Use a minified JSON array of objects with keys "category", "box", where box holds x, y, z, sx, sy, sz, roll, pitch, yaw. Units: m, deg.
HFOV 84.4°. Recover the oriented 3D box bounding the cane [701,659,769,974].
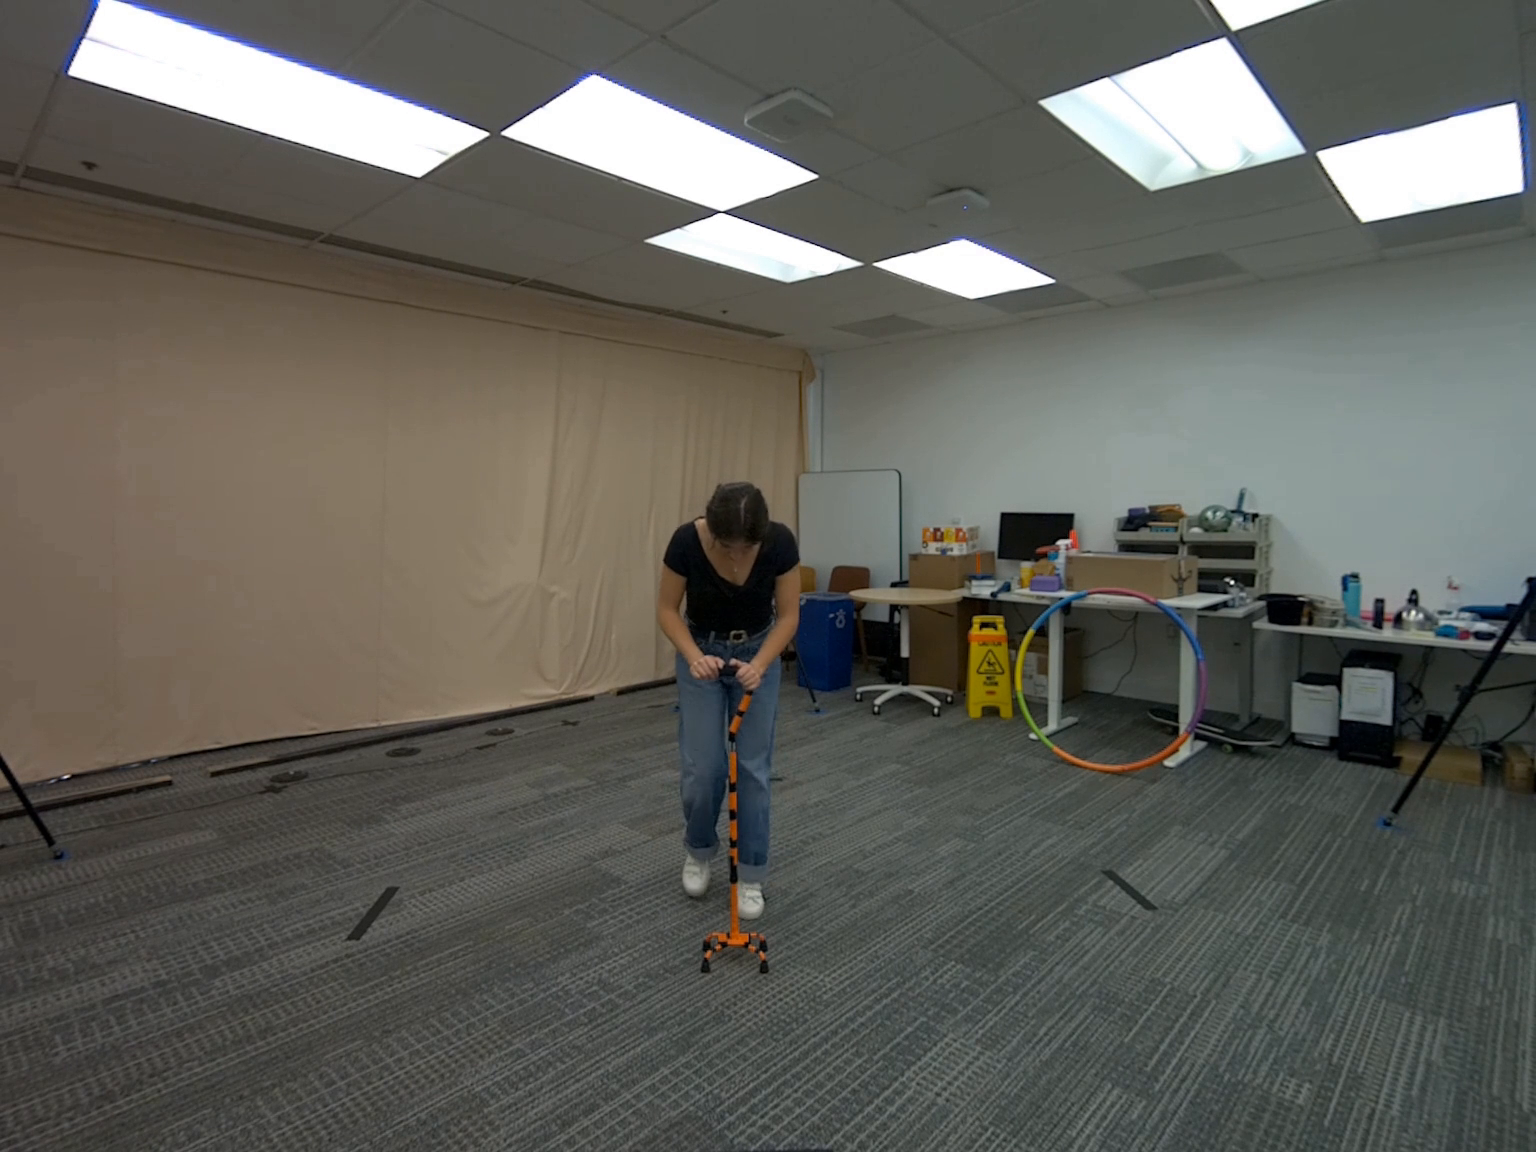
[{"category":"cane","box":[-0.102,0.720,2.559,0.207,0.906,0.152,0,3,0]}]
